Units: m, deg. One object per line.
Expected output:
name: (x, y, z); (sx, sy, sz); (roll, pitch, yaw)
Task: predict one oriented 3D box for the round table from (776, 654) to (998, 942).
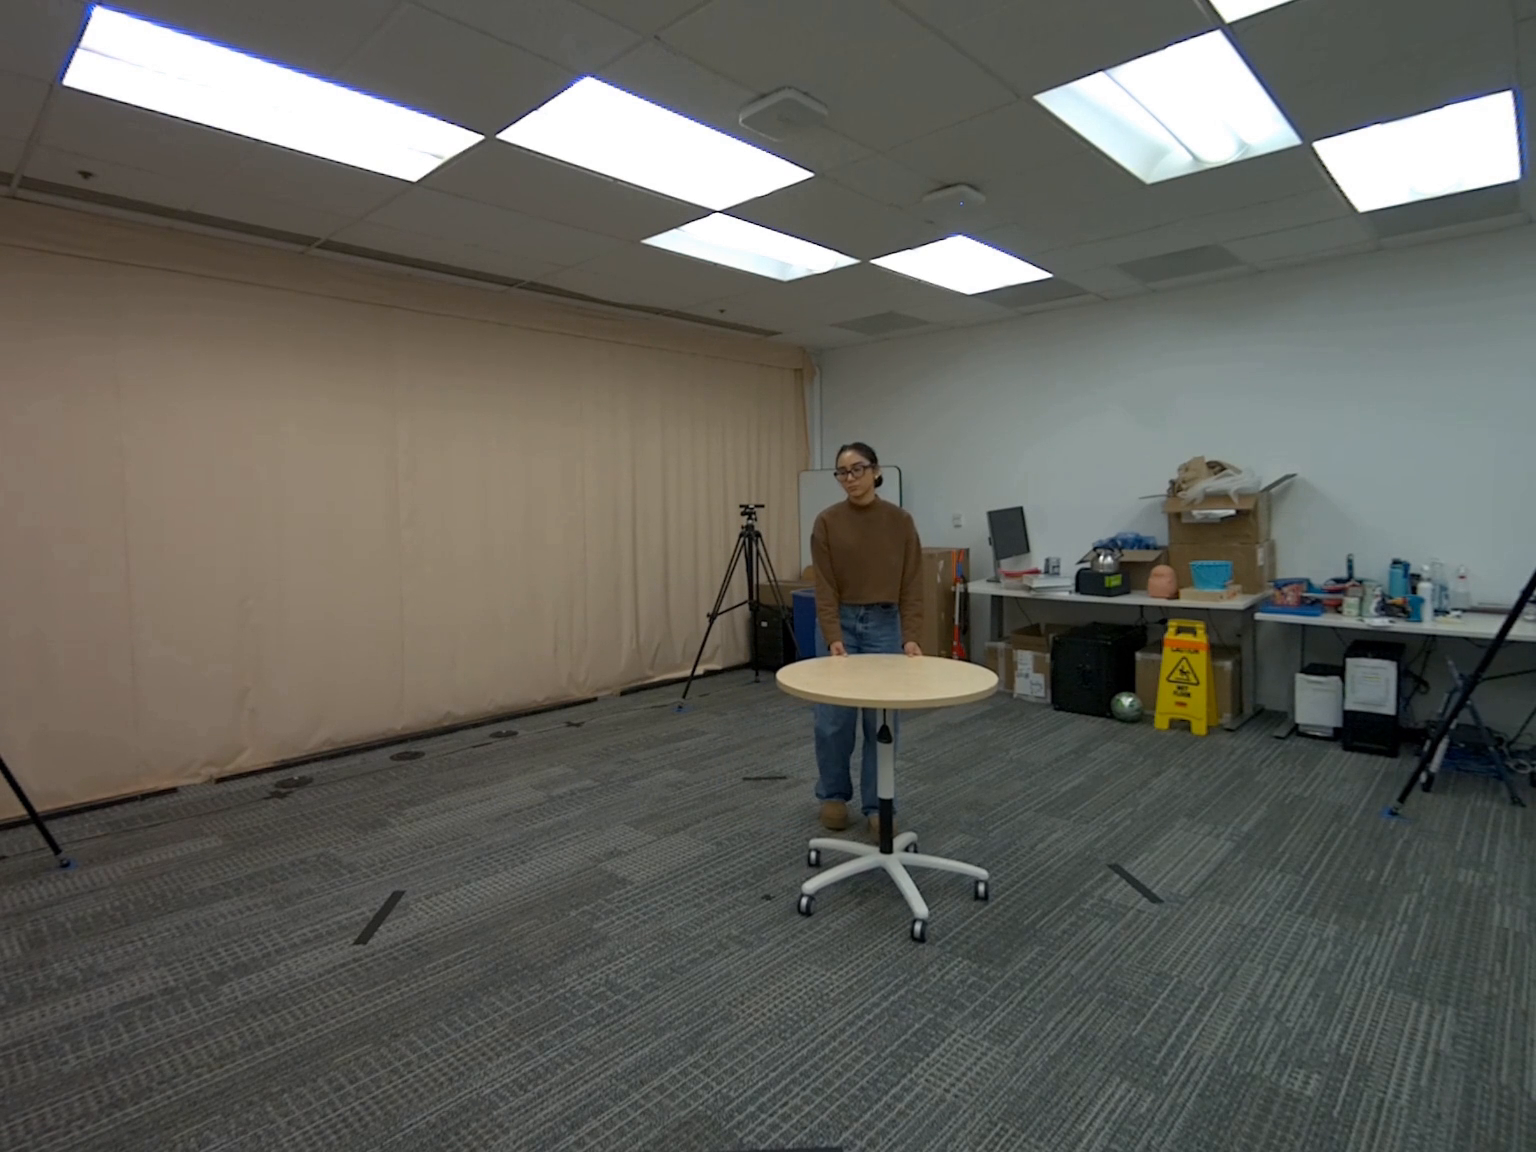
round table: (0.418, 0.740, 3.002); (0.763, 0.792, 0.767); (-1, 4, -2)
